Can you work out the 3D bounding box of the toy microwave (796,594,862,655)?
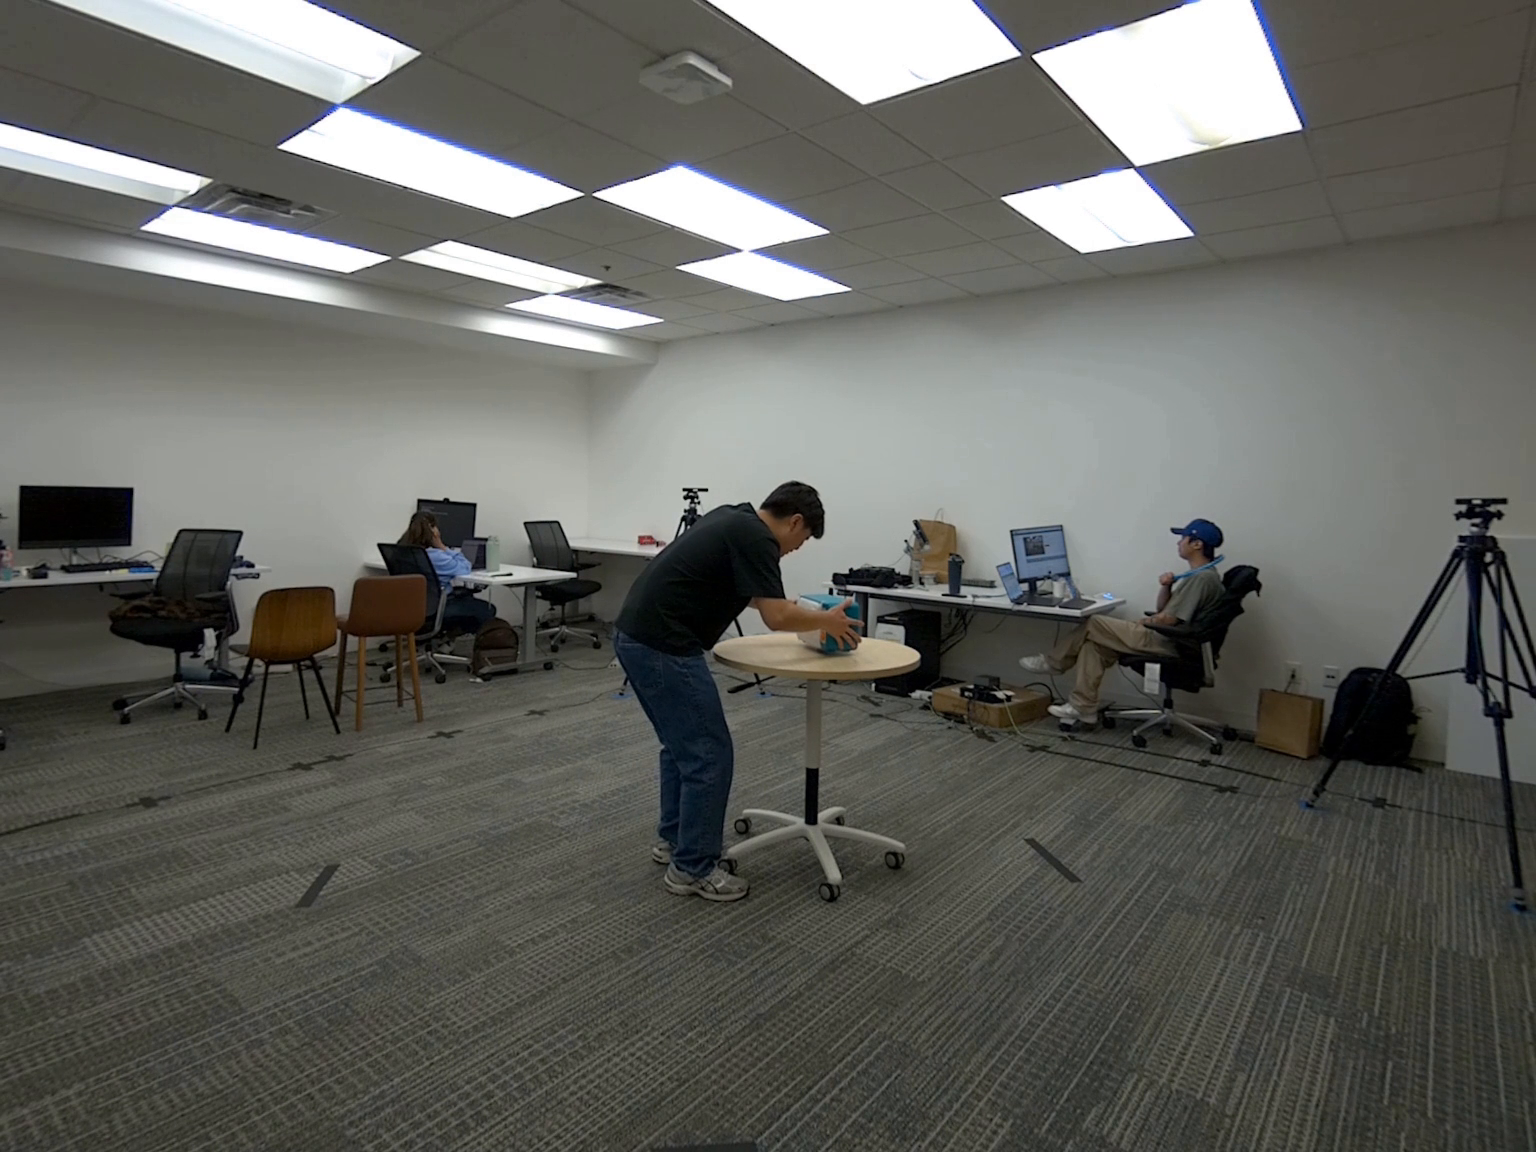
[{"bbox_3d":[0.205,0.177,3.188,0.149,0.183,0.293,-2,6,-21],"label":"toy microwave"}]
